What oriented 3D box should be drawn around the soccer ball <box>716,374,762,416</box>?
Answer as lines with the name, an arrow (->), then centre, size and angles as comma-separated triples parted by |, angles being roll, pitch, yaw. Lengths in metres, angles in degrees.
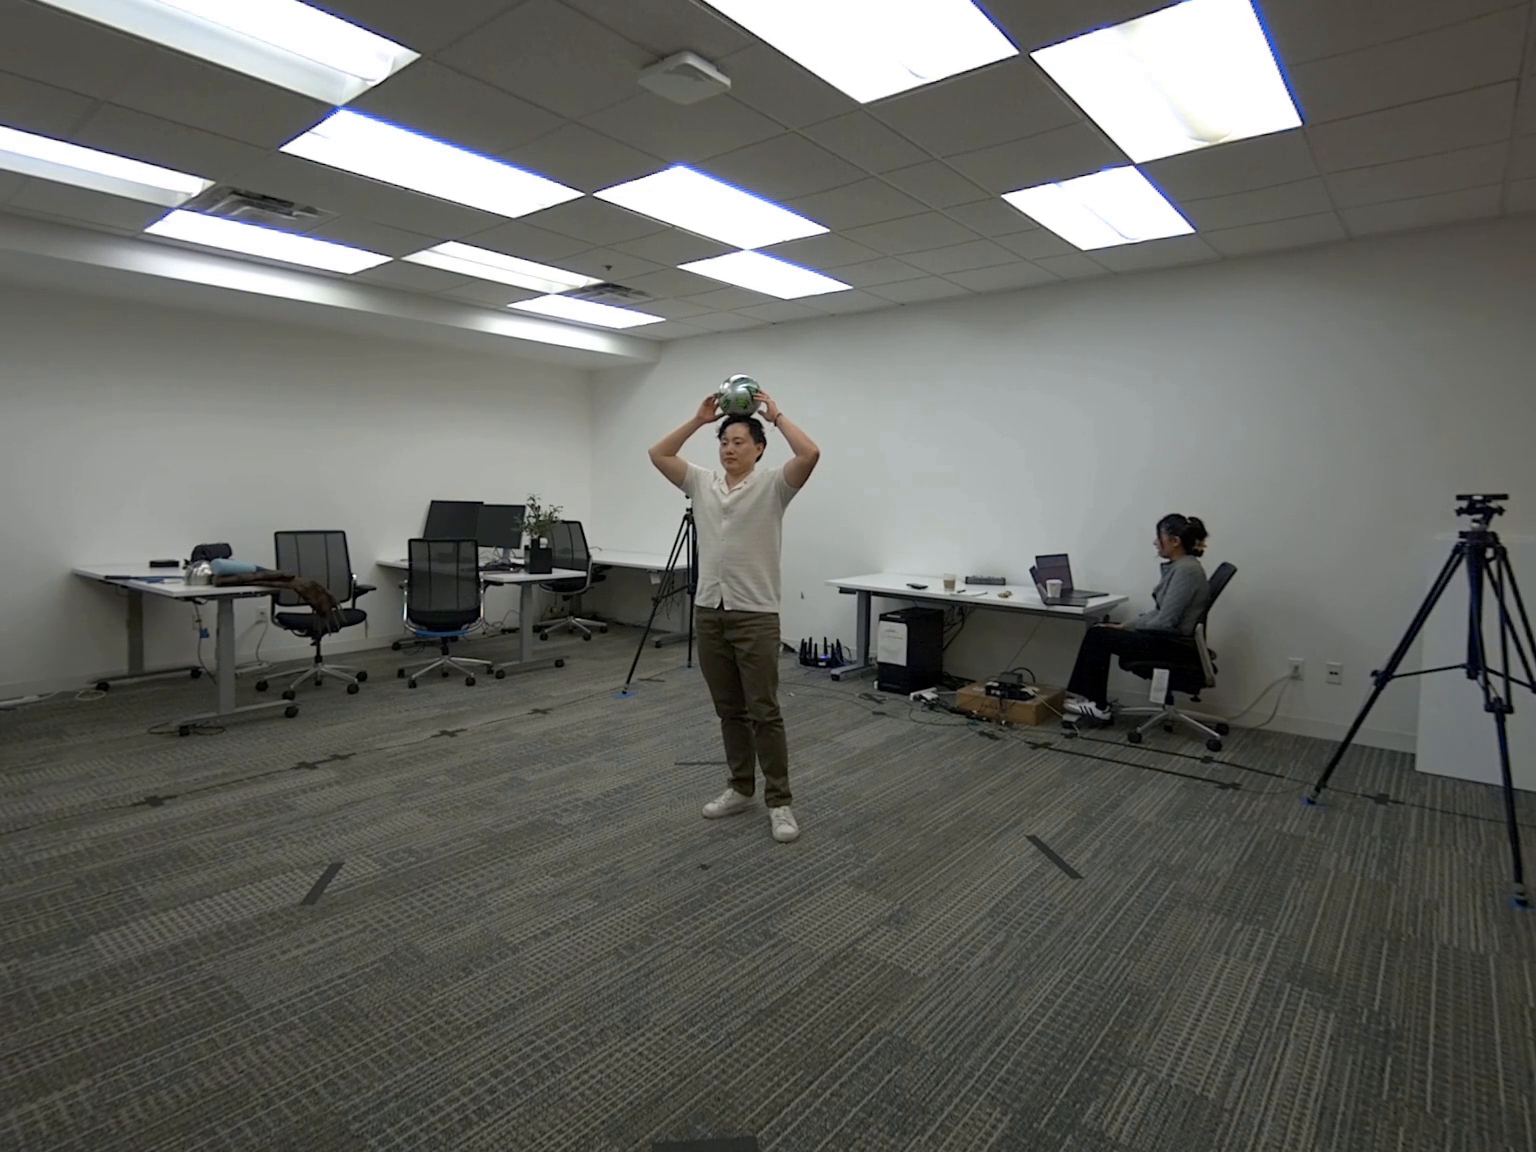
soccer ball -> -0.125, -0.759, 3.609 | 0.187, 0.187, 0.188 | 1, 4, -2
